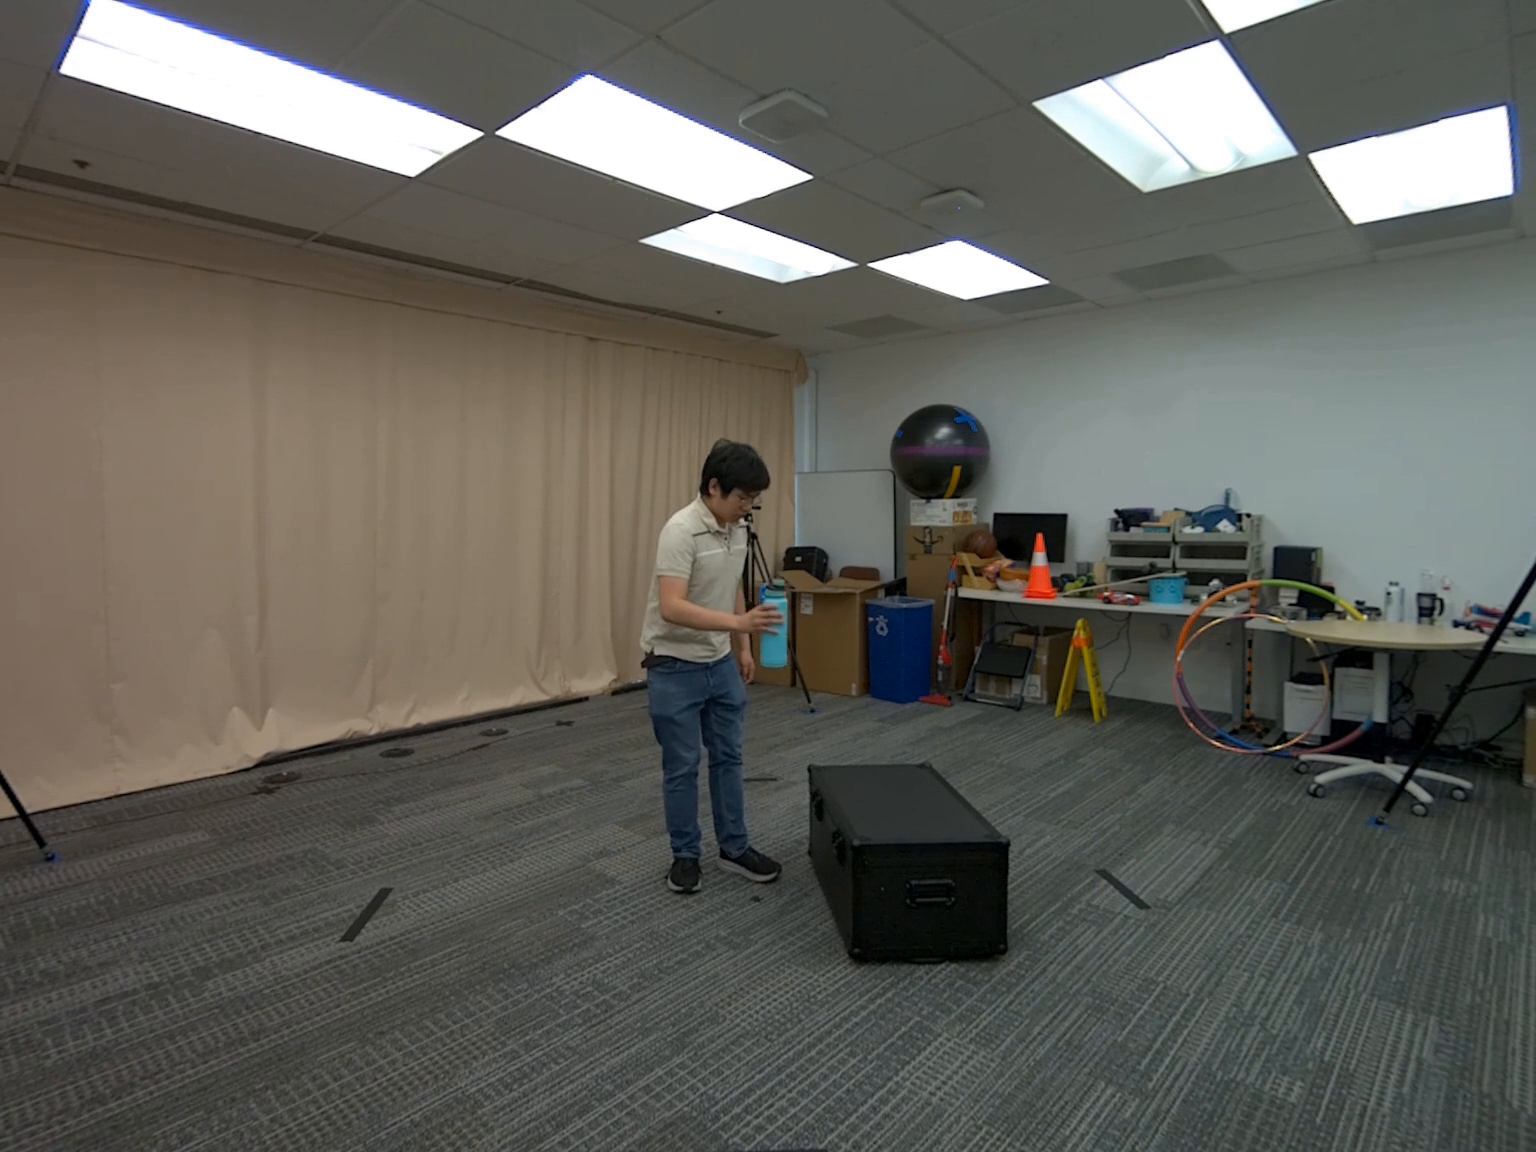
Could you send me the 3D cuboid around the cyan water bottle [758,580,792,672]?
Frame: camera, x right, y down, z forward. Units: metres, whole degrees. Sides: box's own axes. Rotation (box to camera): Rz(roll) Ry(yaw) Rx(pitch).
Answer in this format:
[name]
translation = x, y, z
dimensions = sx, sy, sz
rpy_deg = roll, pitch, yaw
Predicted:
[cyan water bottle]
translation = 0.021, 0.160, 2.786
dimensions = 0.092, 0.282, 0.093
rpy_deg = -2, 4, -2
